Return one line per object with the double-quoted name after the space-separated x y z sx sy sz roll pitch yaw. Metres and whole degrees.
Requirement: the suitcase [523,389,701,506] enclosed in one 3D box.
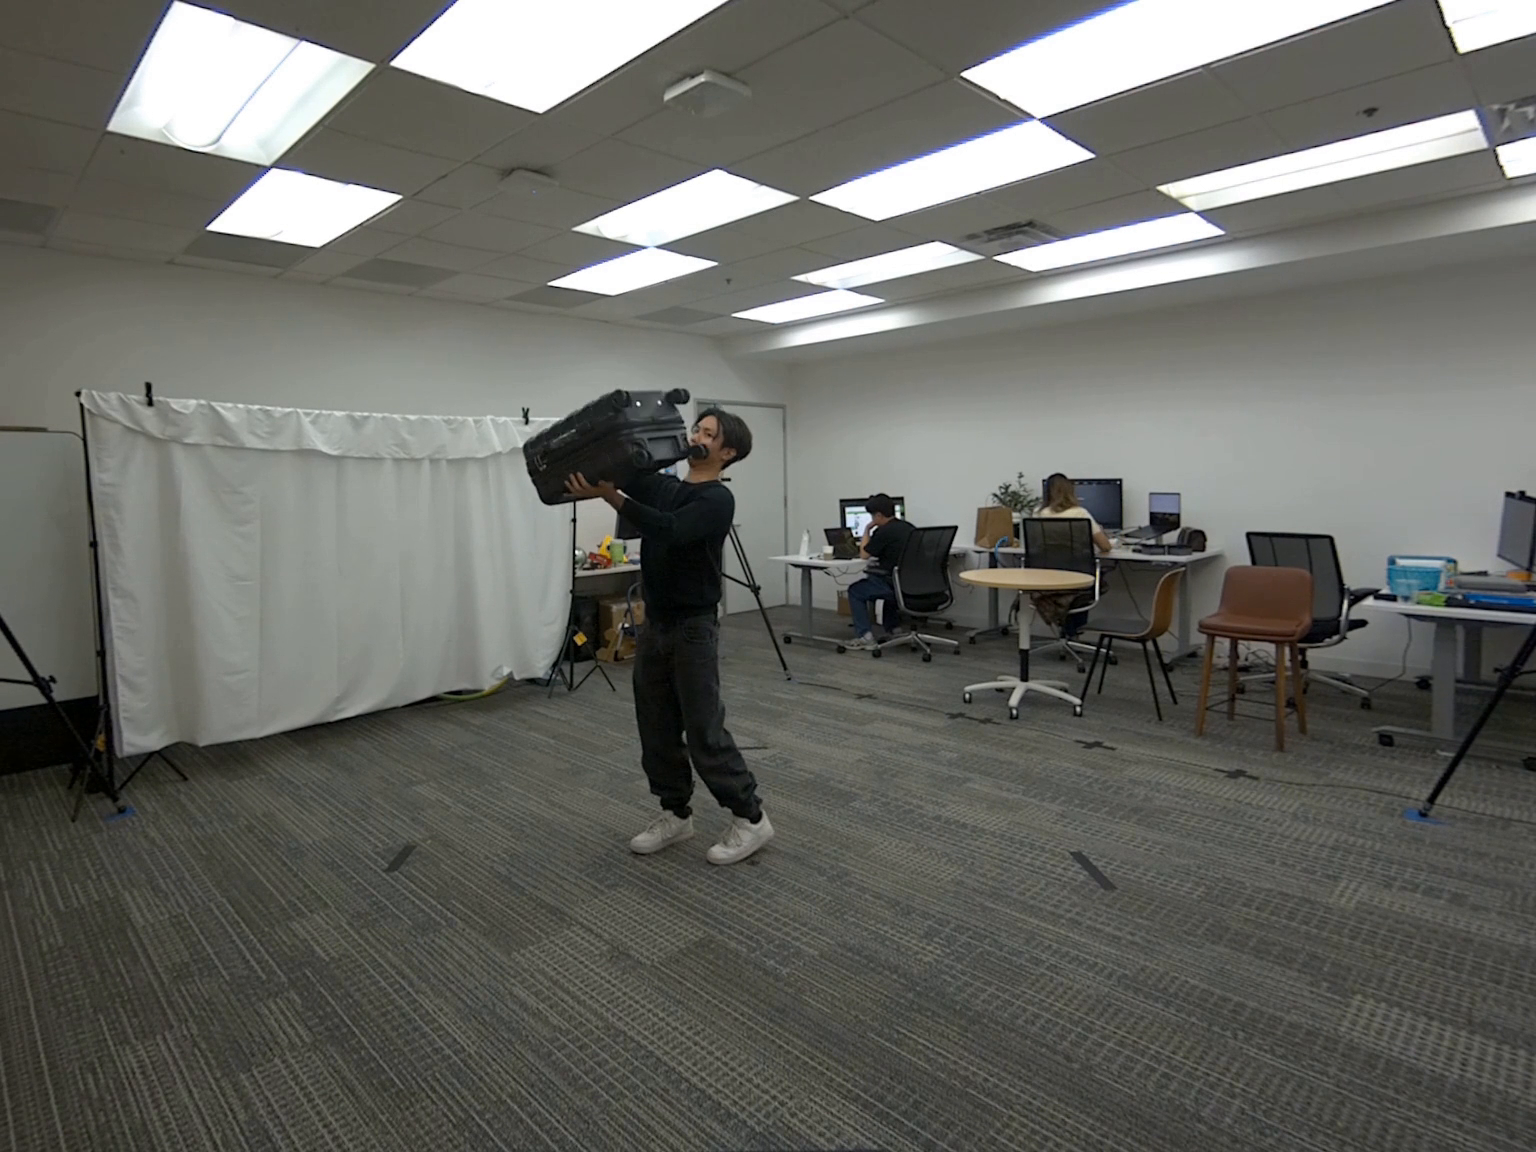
-0.537 -0.428 2.892 0.559 0.248 0.369 -18 1 35 "suitcase"
